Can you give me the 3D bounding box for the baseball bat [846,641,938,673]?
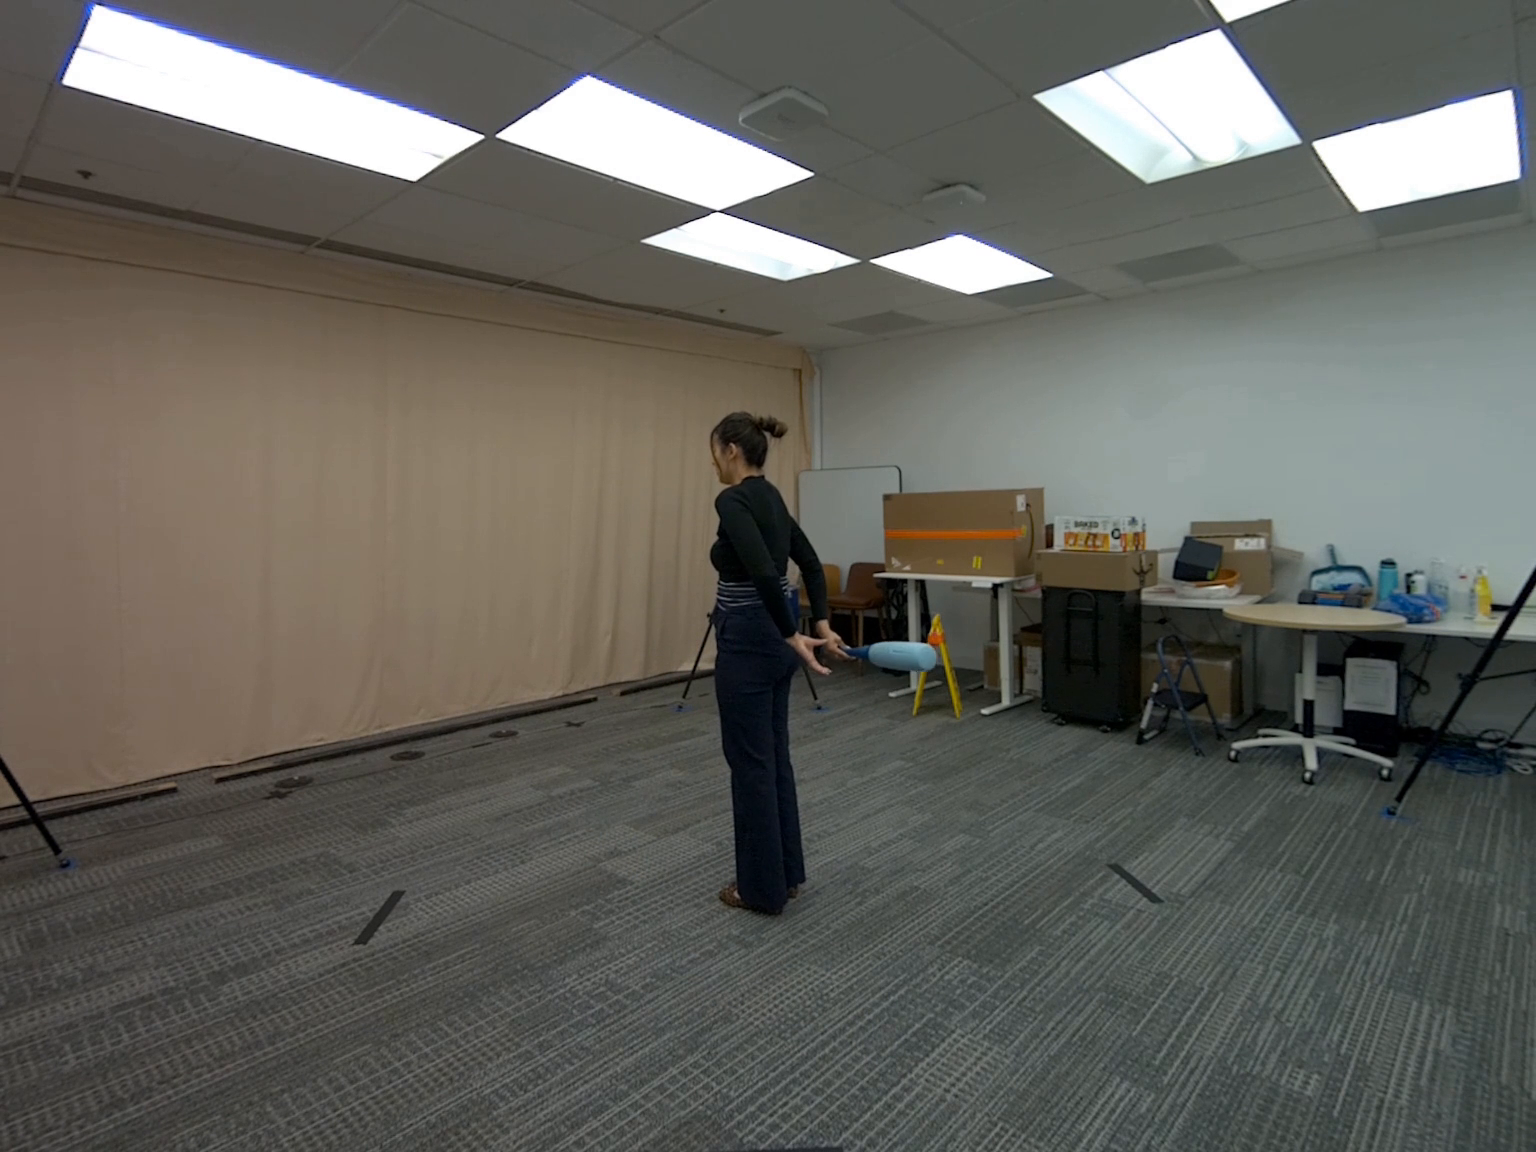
[{"bbox_3d":[0.350,0.268,2.798,0.087,0.089,0.557,-3,0,-30],"label":"baseball bat"}]
